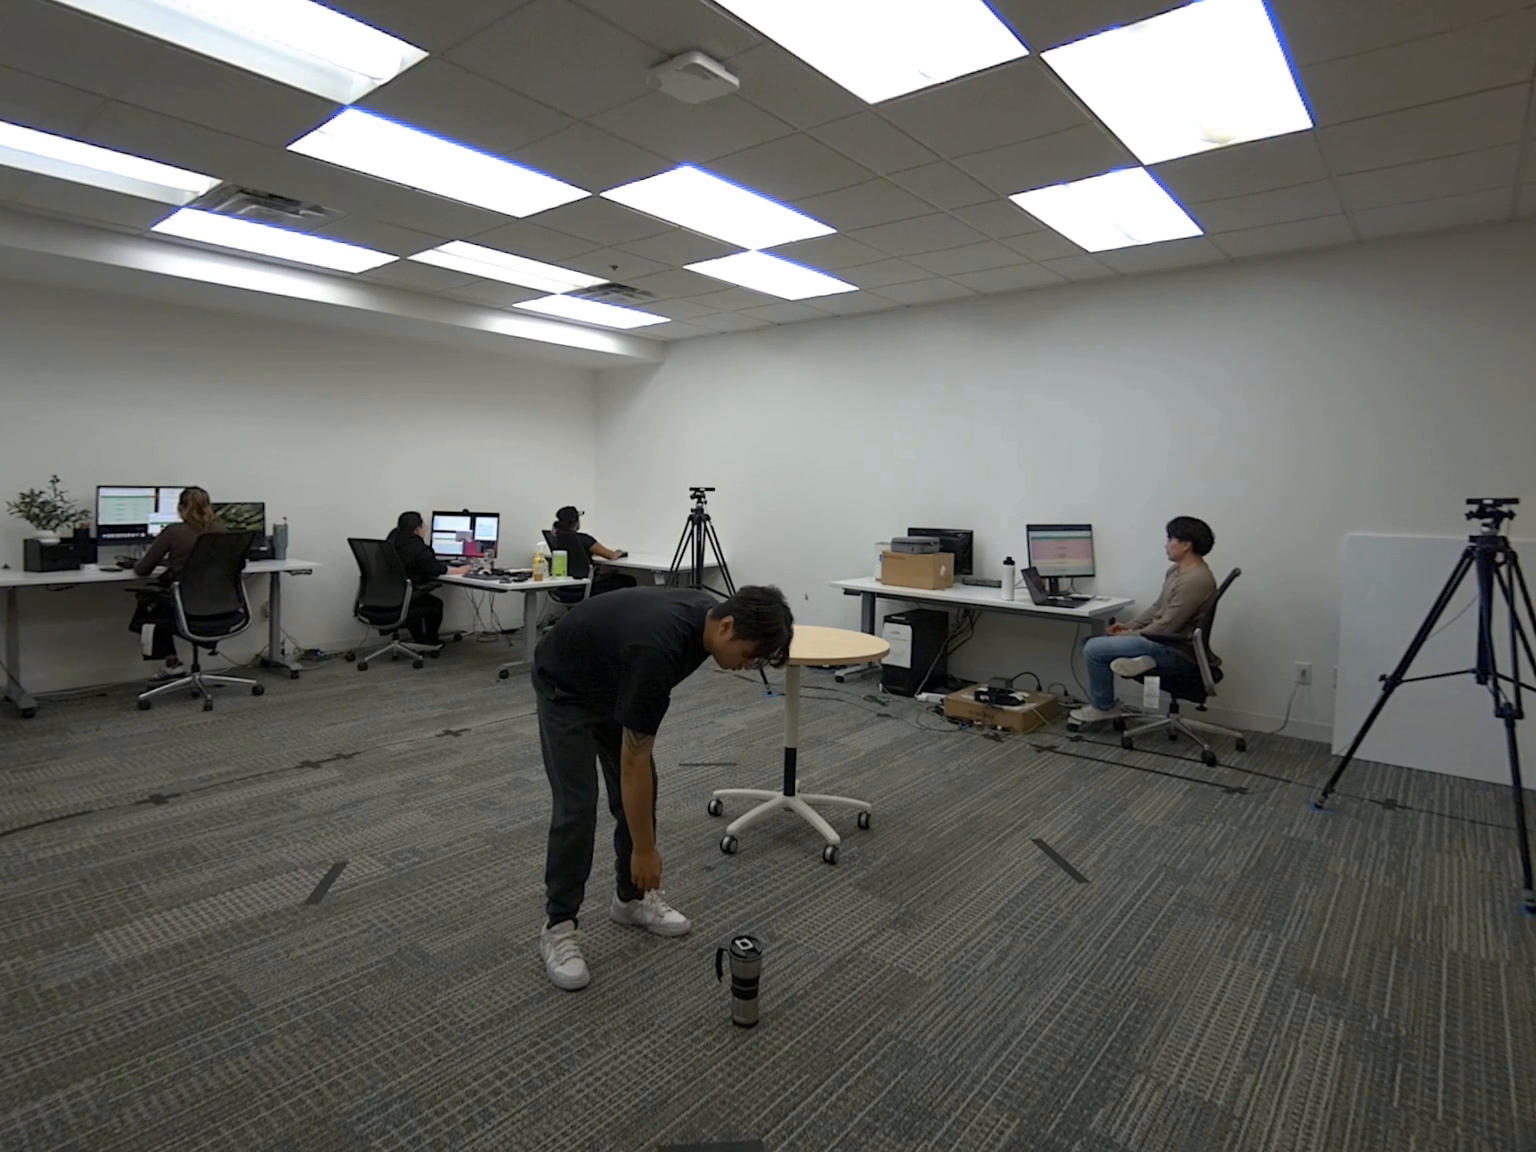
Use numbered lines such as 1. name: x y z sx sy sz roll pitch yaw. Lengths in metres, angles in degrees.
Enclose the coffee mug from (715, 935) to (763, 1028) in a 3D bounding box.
1. coffee mug: -0.078 1.057 2.240 0.126 0.201 0.085 9 11 44
